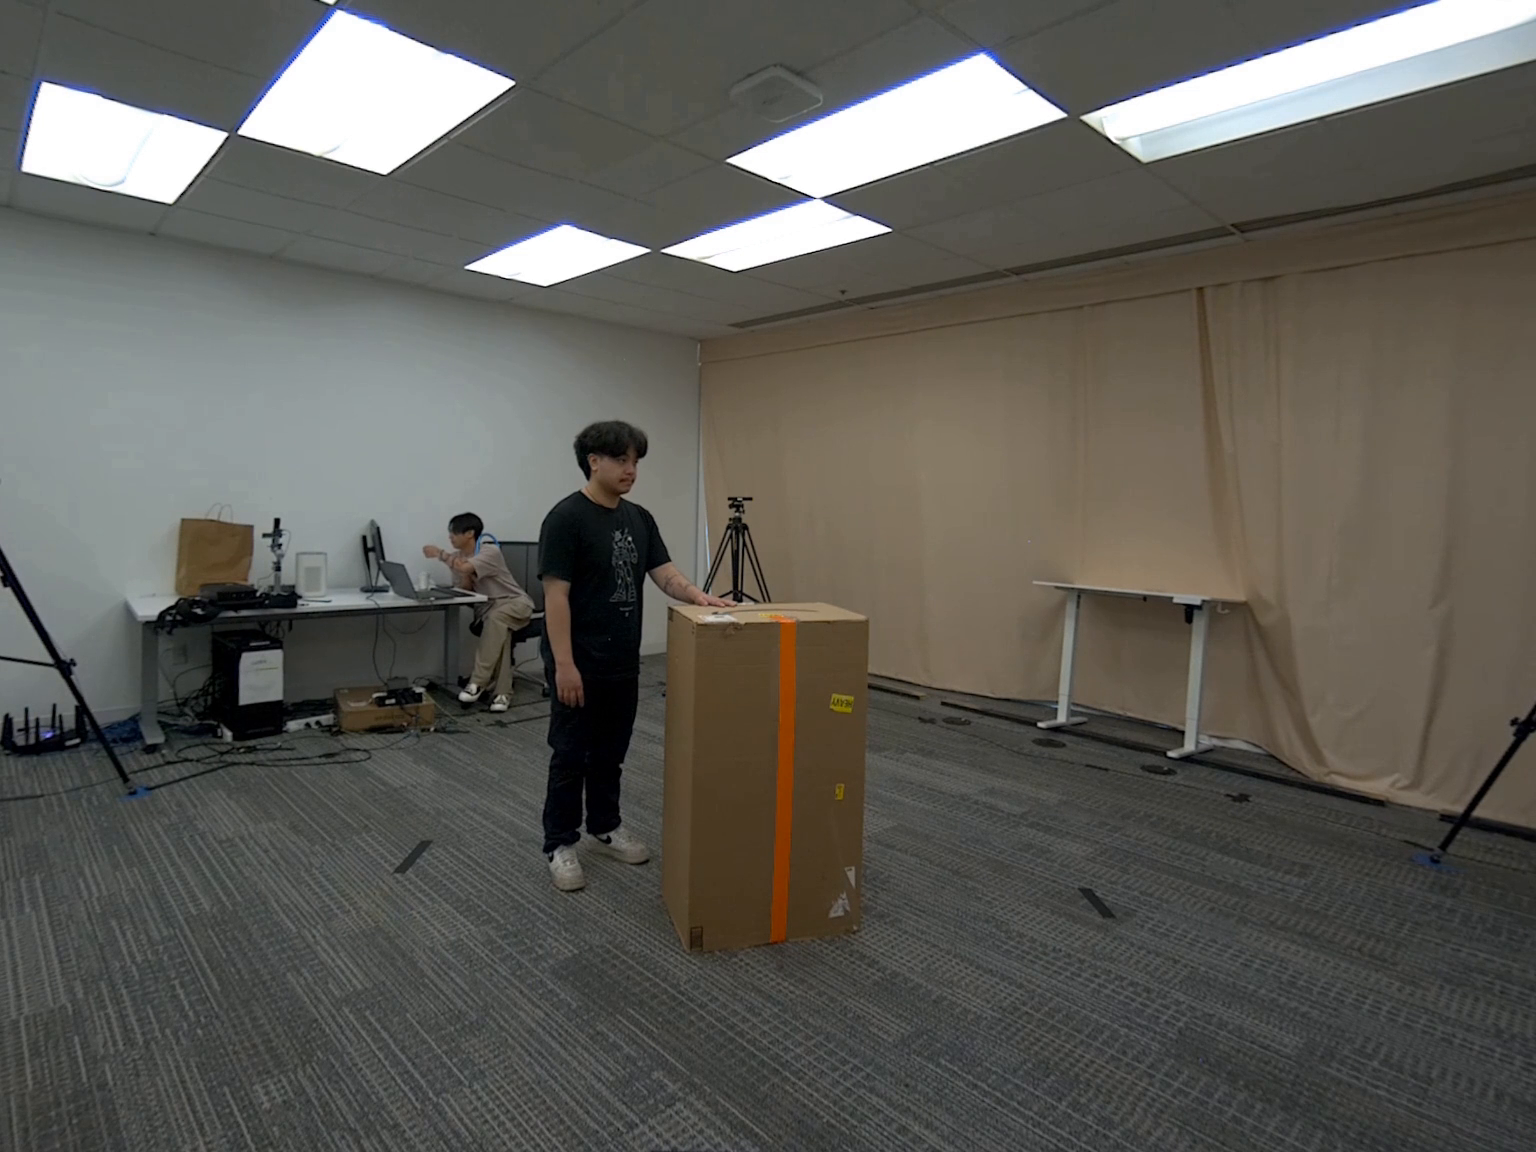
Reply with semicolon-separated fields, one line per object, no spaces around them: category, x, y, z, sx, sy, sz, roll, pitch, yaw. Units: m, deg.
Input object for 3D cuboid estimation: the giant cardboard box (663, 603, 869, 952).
giant cardboard box;-0.031;0.625;2.814;0.576;1.024;0.454;0;4;-17
